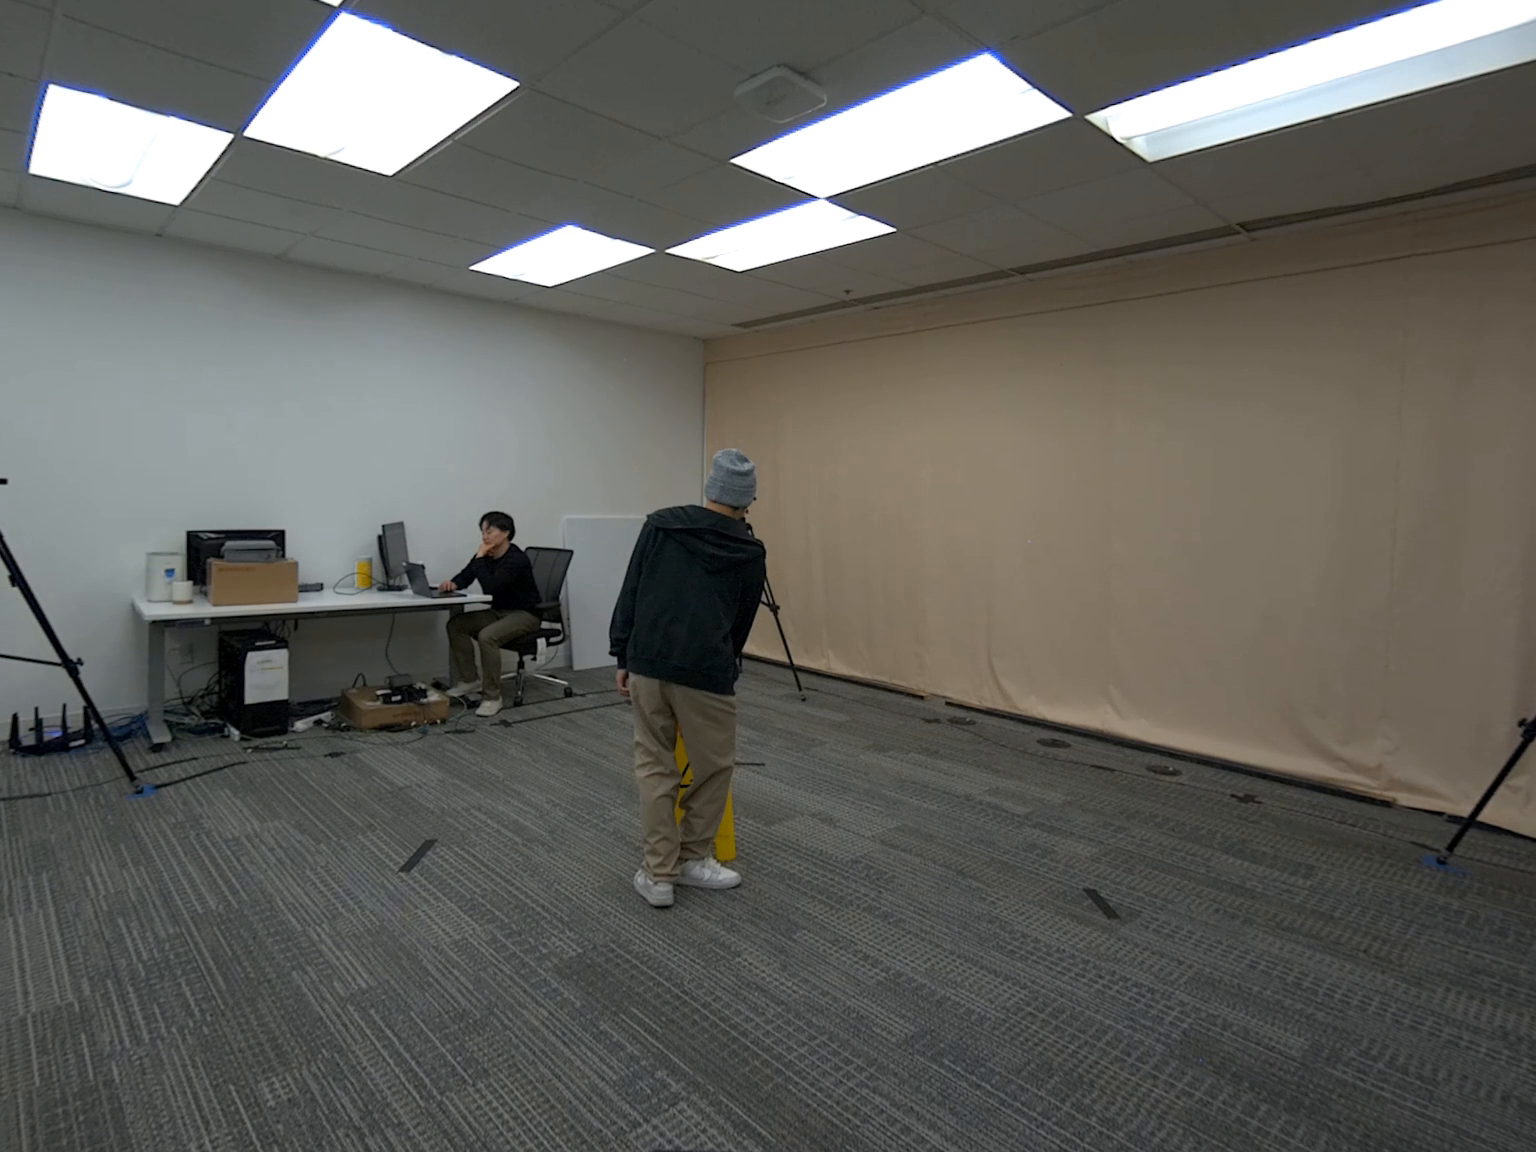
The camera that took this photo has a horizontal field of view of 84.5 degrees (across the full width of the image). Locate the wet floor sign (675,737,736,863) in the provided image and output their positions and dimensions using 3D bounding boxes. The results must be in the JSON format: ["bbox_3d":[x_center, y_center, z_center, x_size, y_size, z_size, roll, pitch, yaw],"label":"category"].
[{"bbox_3d":[-0.292,0.758,3.315,0.279,0.646,0.293,2,1,-15],"label":"wet floor sign"}]
